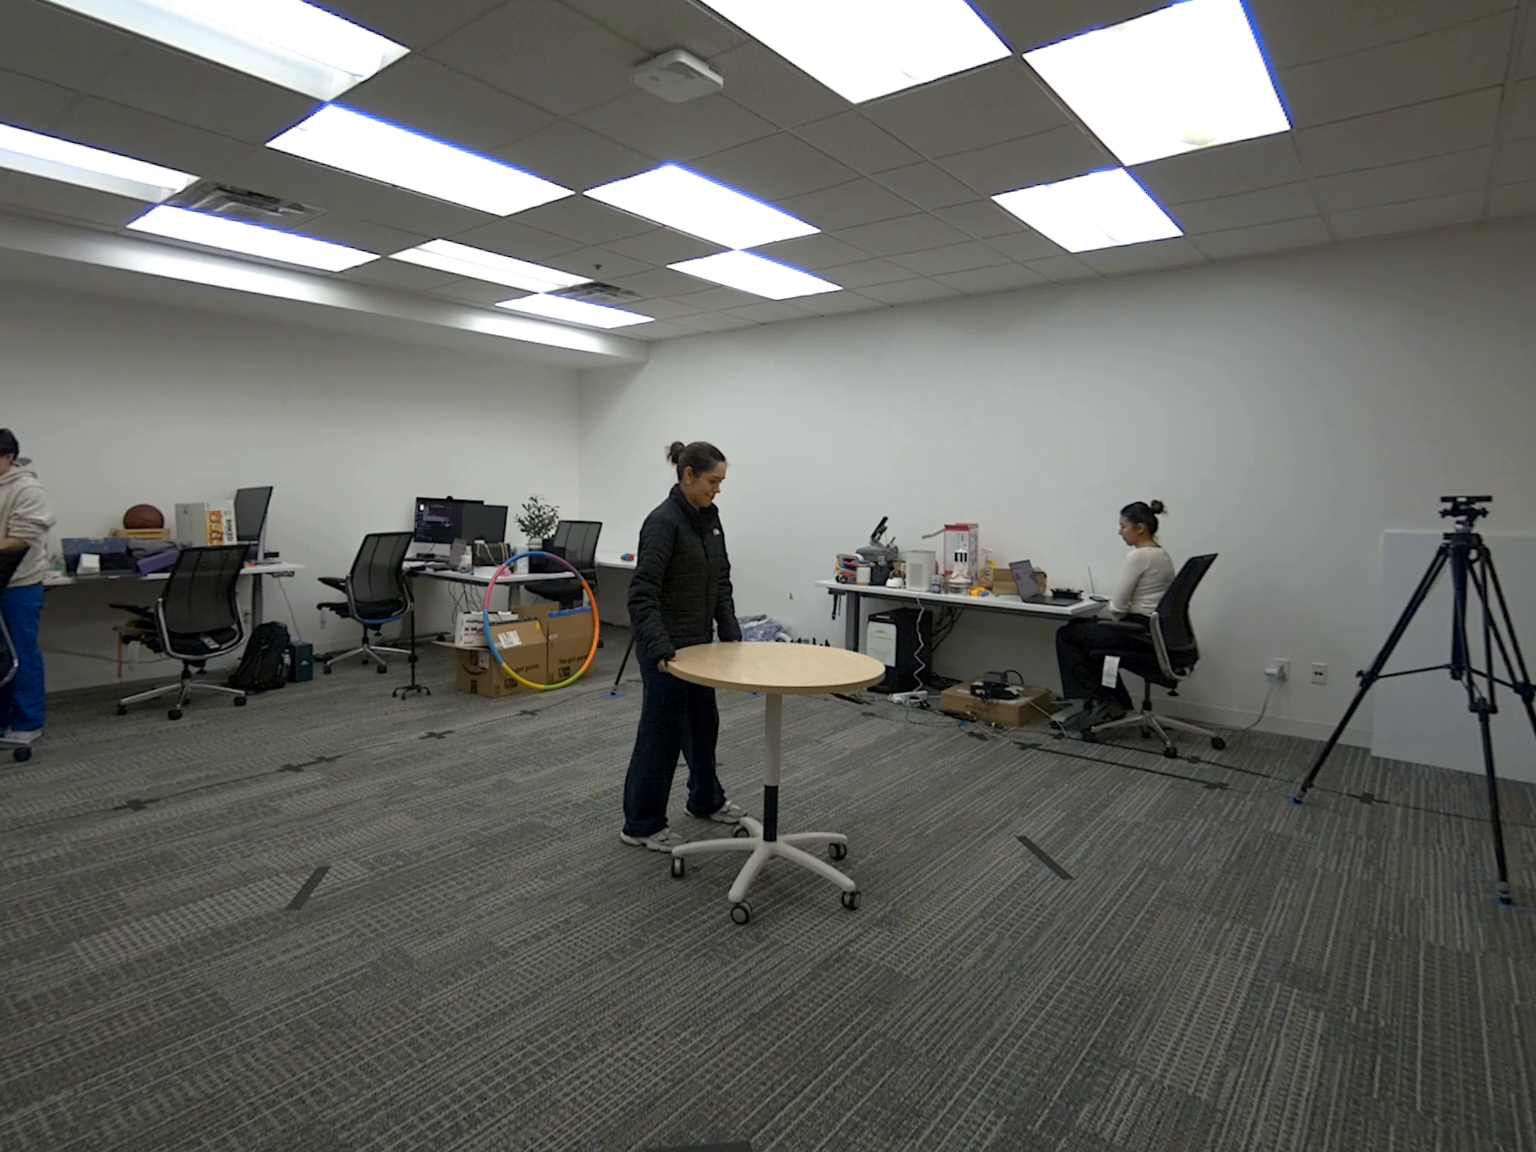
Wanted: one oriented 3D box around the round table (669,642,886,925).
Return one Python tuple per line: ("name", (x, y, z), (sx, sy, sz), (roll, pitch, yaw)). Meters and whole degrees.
("round table", (0.037, 0.683, 3.015), (0.784, 0.784, 0.789), (1, 4, -2))
